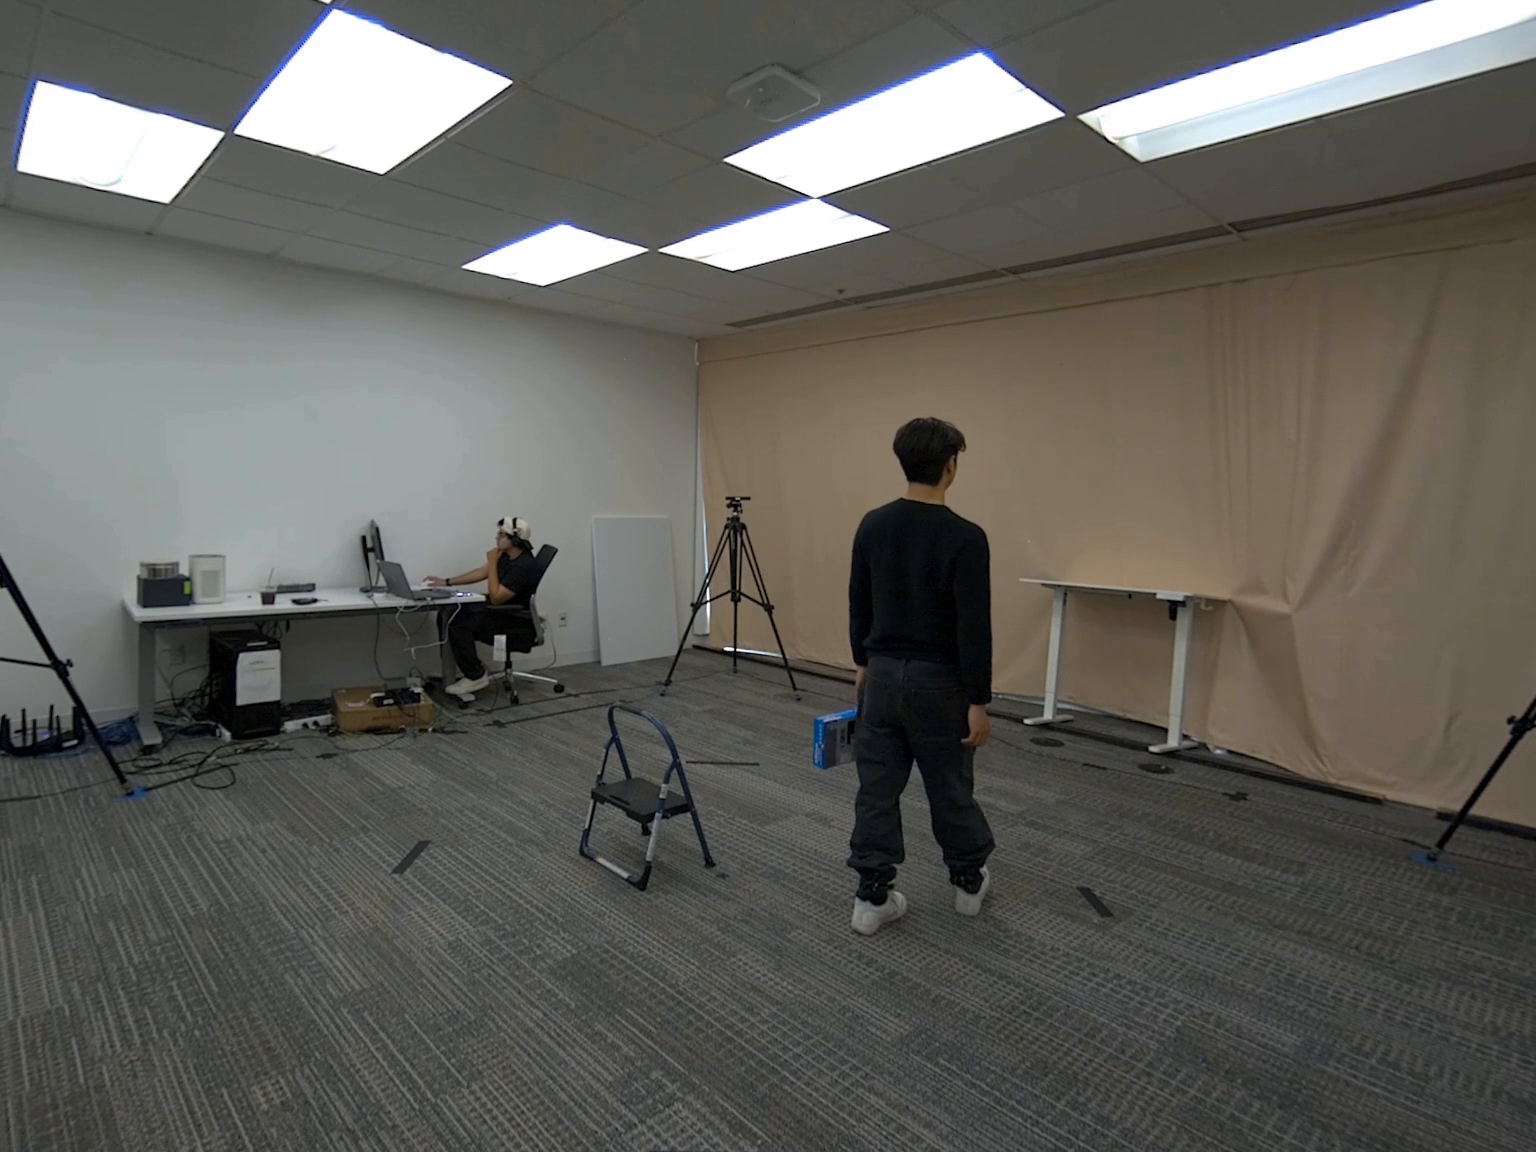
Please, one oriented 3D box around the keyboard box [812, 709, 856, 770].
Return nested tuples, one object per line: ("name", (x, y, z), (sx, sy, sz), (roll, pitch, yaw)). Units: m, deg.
("keyboard box", (0.352, 0.561, 3.020), (0.428, 0.175, 0.061), (-6, 12, -33))
